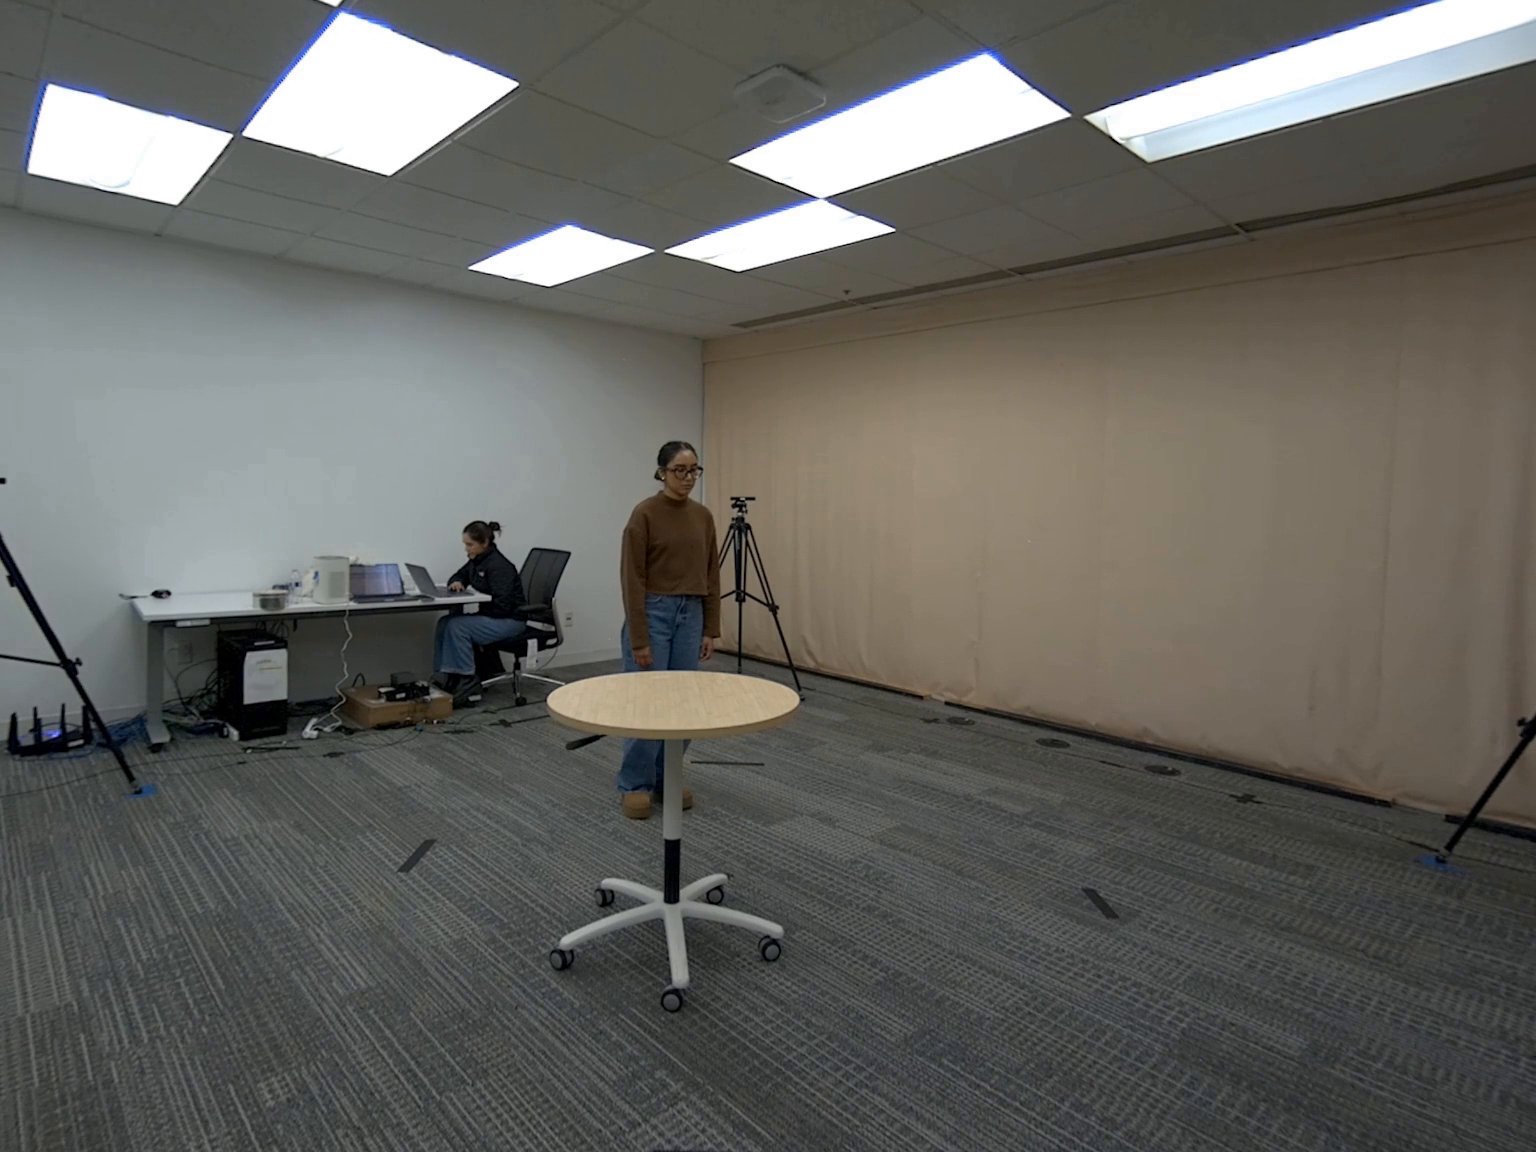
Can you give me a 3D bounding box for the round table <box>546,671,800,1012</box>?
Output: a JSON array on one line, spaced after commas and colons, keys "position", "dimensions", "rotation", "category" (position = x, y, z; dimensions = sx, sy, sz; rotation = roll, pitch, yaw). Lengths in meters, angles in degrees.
[{"position": [-0.317, 0.756, 2.592], "dimensions": [0.784, 0.784, 0.787], "rotation": [2, 4, -1], "category": "round table"}]
